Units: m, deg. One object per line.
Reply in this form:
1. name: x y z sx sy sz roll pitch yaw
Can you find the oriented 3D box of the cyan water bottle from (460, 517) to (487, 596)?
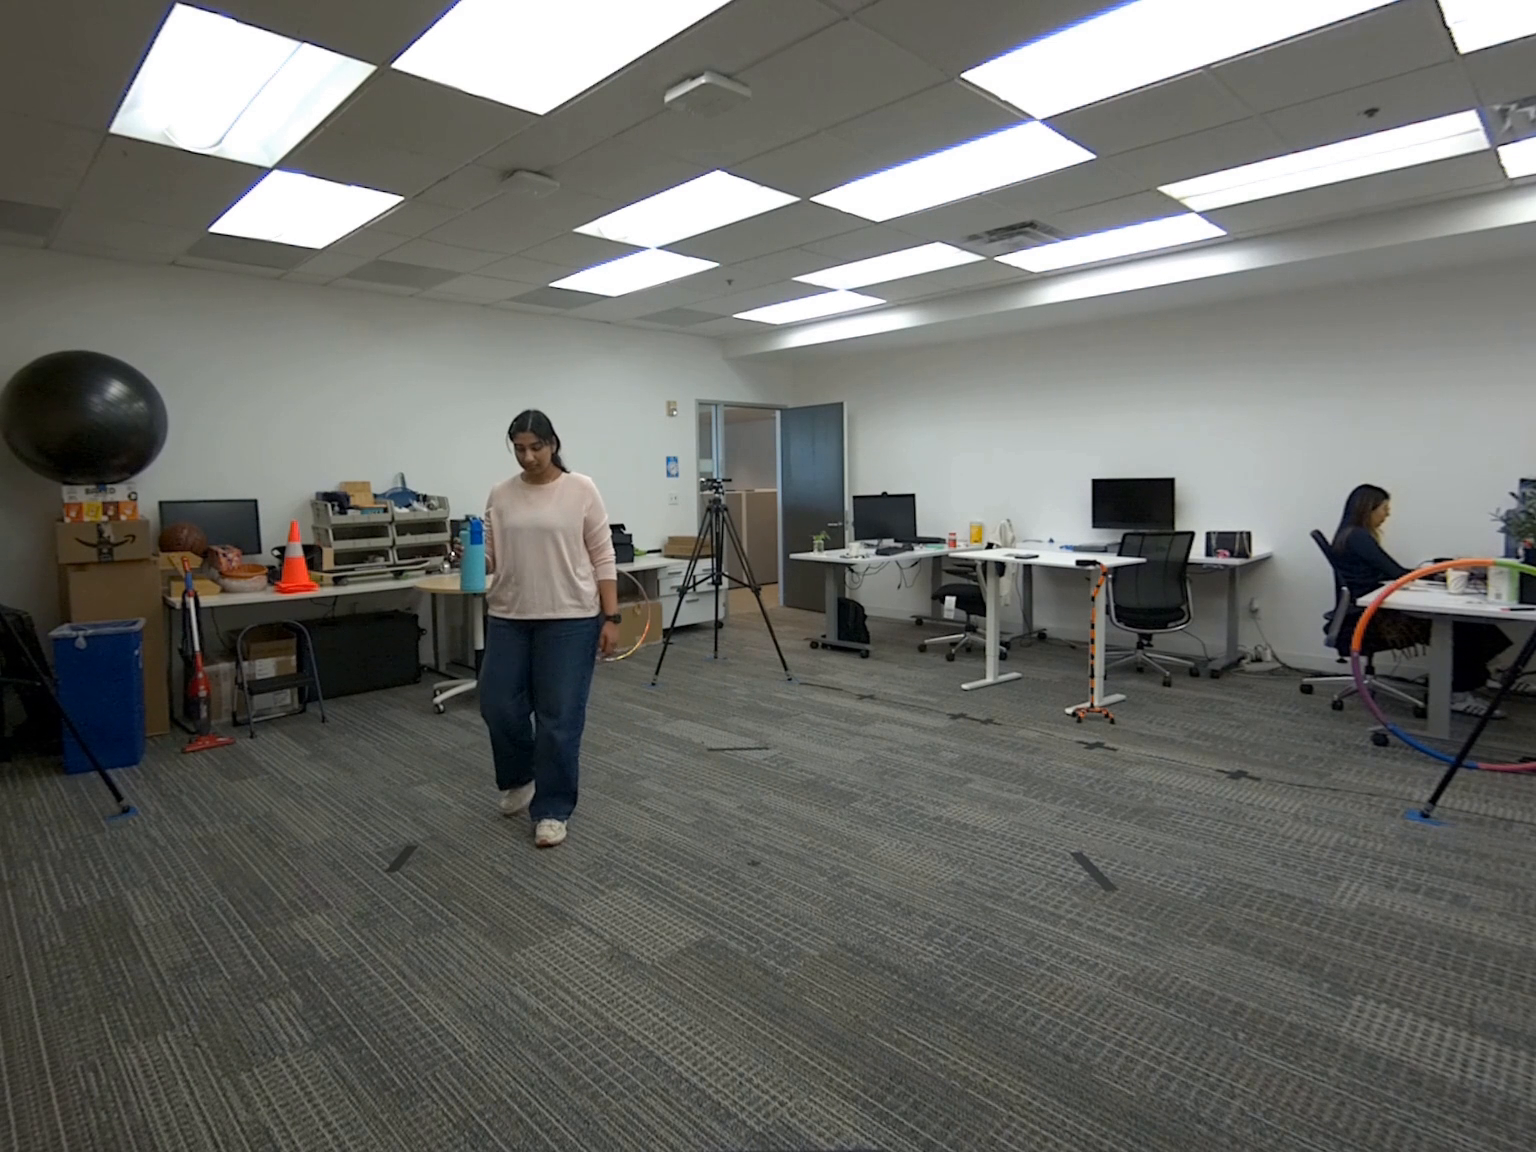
1. cyan water bottle: -1.086 -0.080 3.123 0.092 0.282 0.093 1 3 -2
